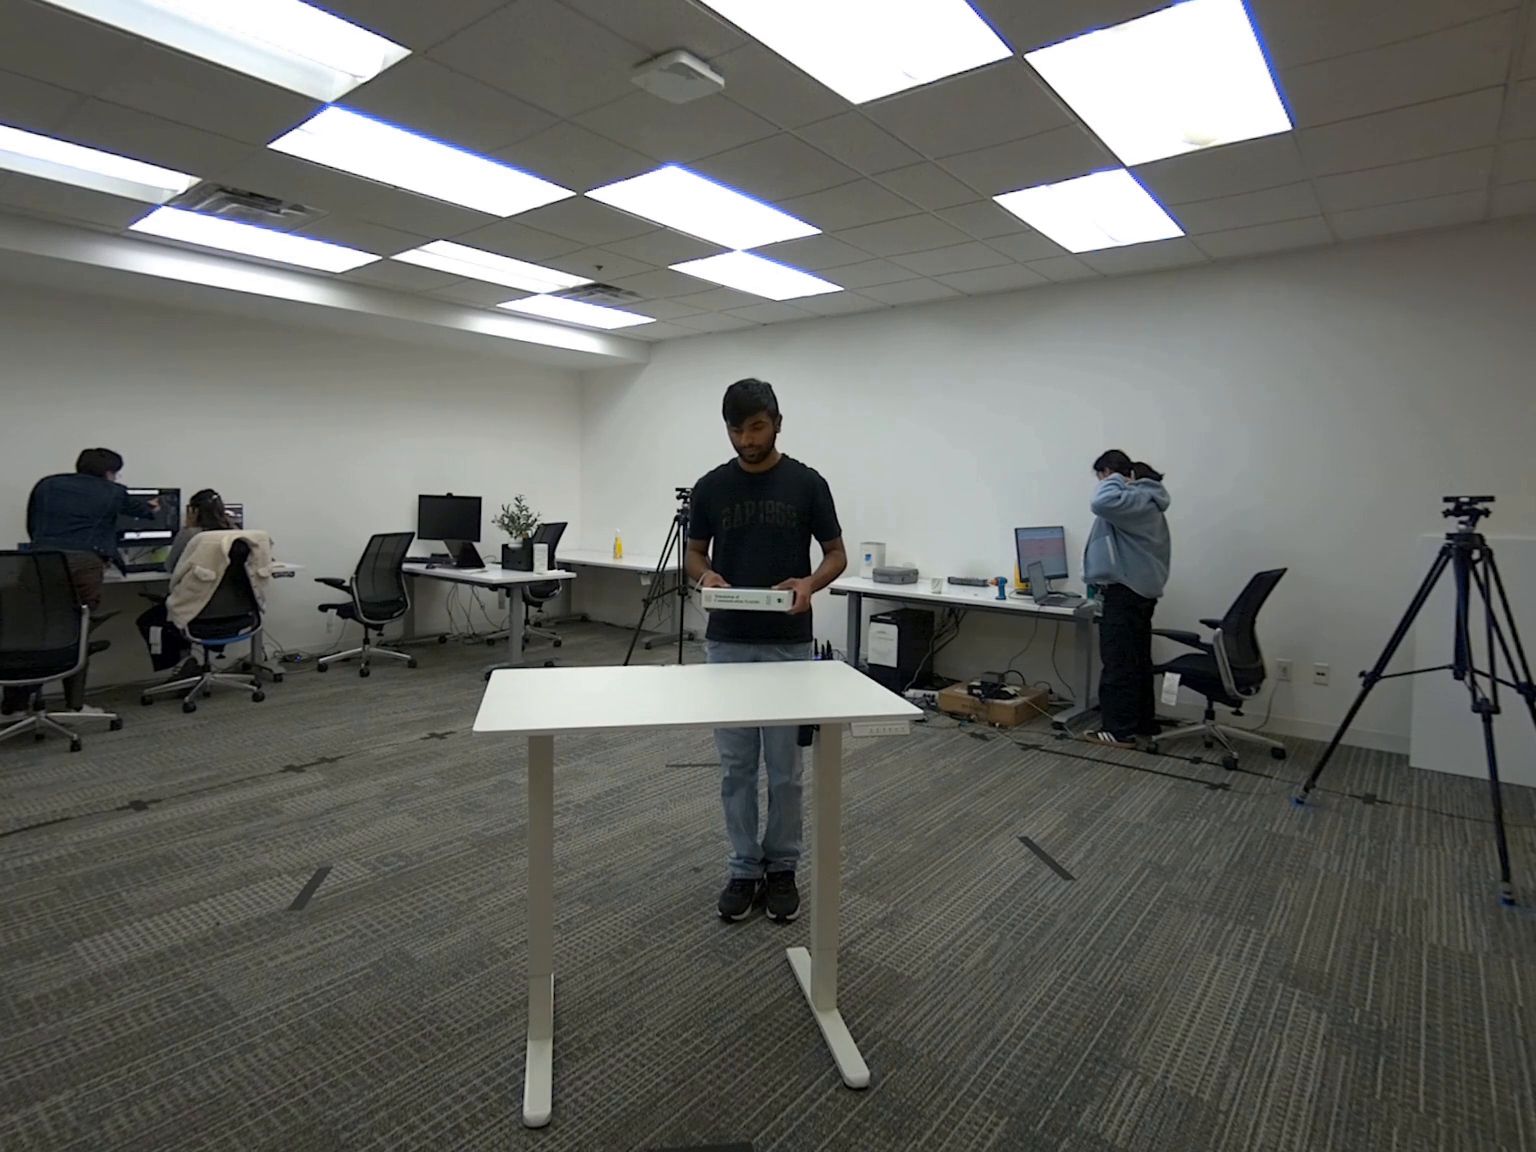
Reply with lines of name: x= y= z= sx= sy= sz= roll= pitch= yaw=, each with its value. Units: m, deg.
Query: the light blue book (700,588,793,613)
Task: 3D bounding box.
light blue book: x=-0.064 y=0.067 z=2.590 sx=0.264 sy=0.059 sz=0.189 roll=1 pitch=1 yaw=9
